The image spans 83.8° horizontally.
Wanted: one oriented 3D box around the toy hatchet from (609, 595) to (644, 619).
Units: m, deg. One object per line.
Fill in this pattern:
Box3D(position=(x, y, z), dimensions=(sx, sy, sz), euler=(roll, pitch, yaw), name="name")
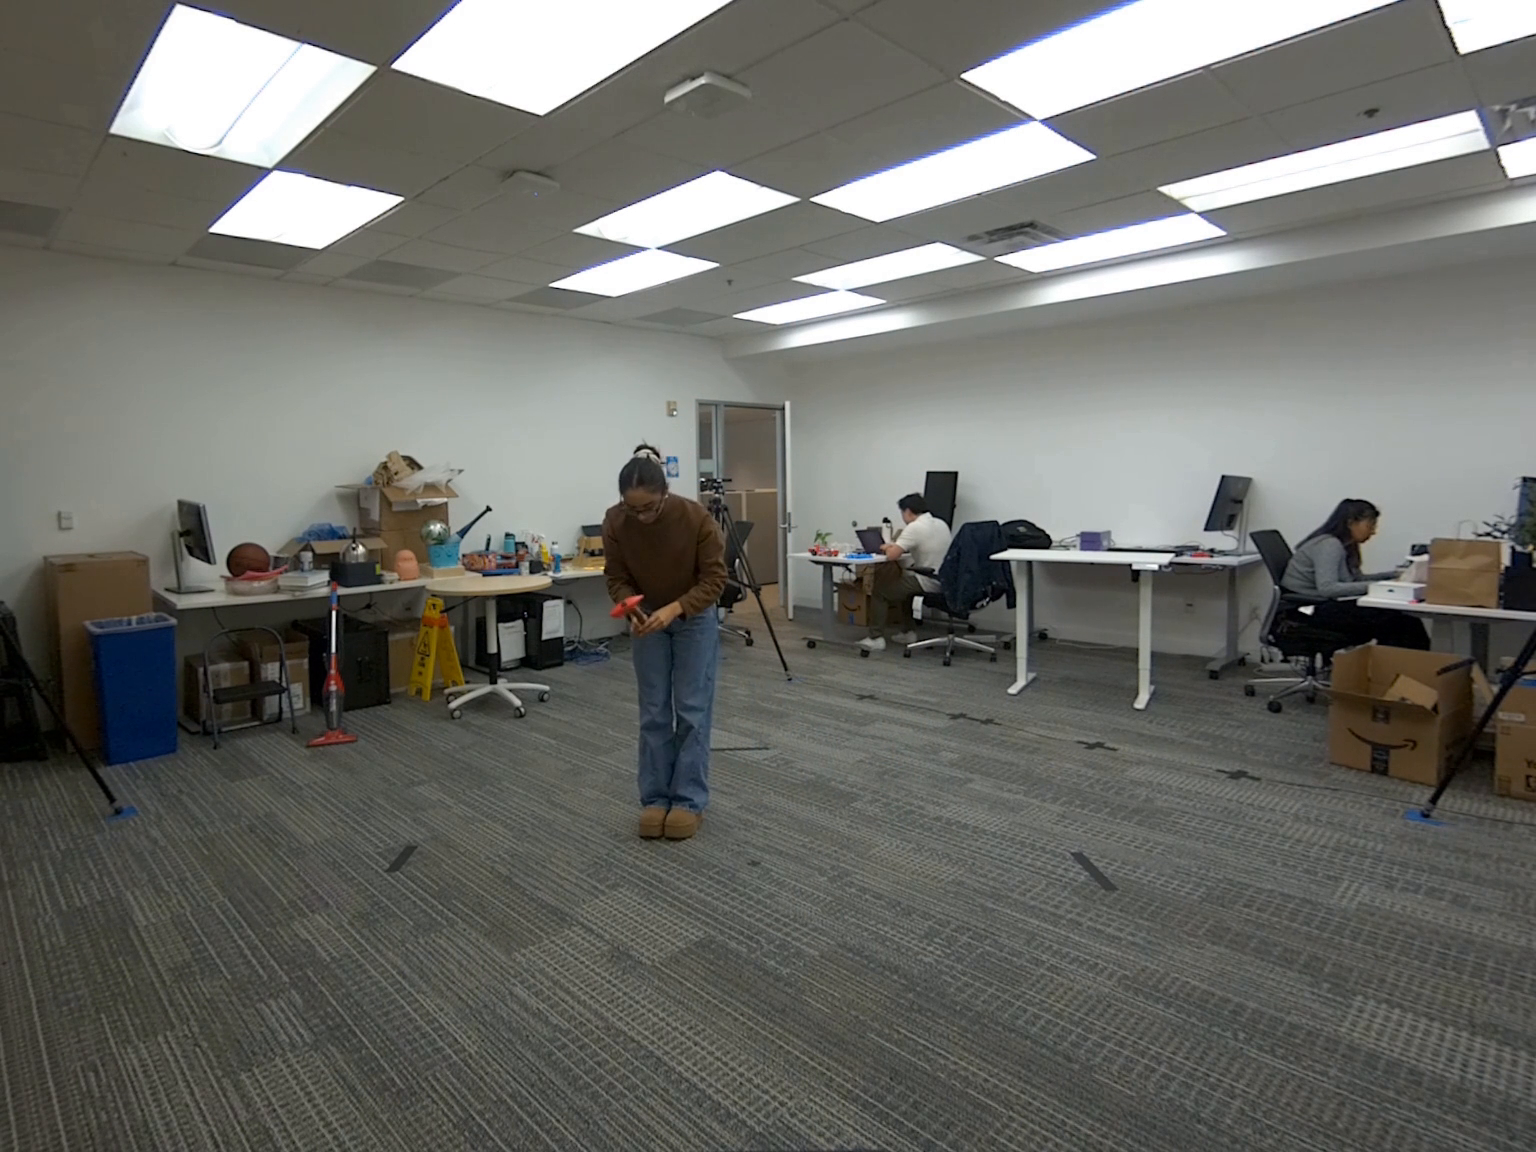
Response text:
Box3D(position=(-0.503, 0.154, 3.042), dimensions=(0.130, 0.030, 0.264), euler=(-24, -24, -12), name="toy hatchet")
